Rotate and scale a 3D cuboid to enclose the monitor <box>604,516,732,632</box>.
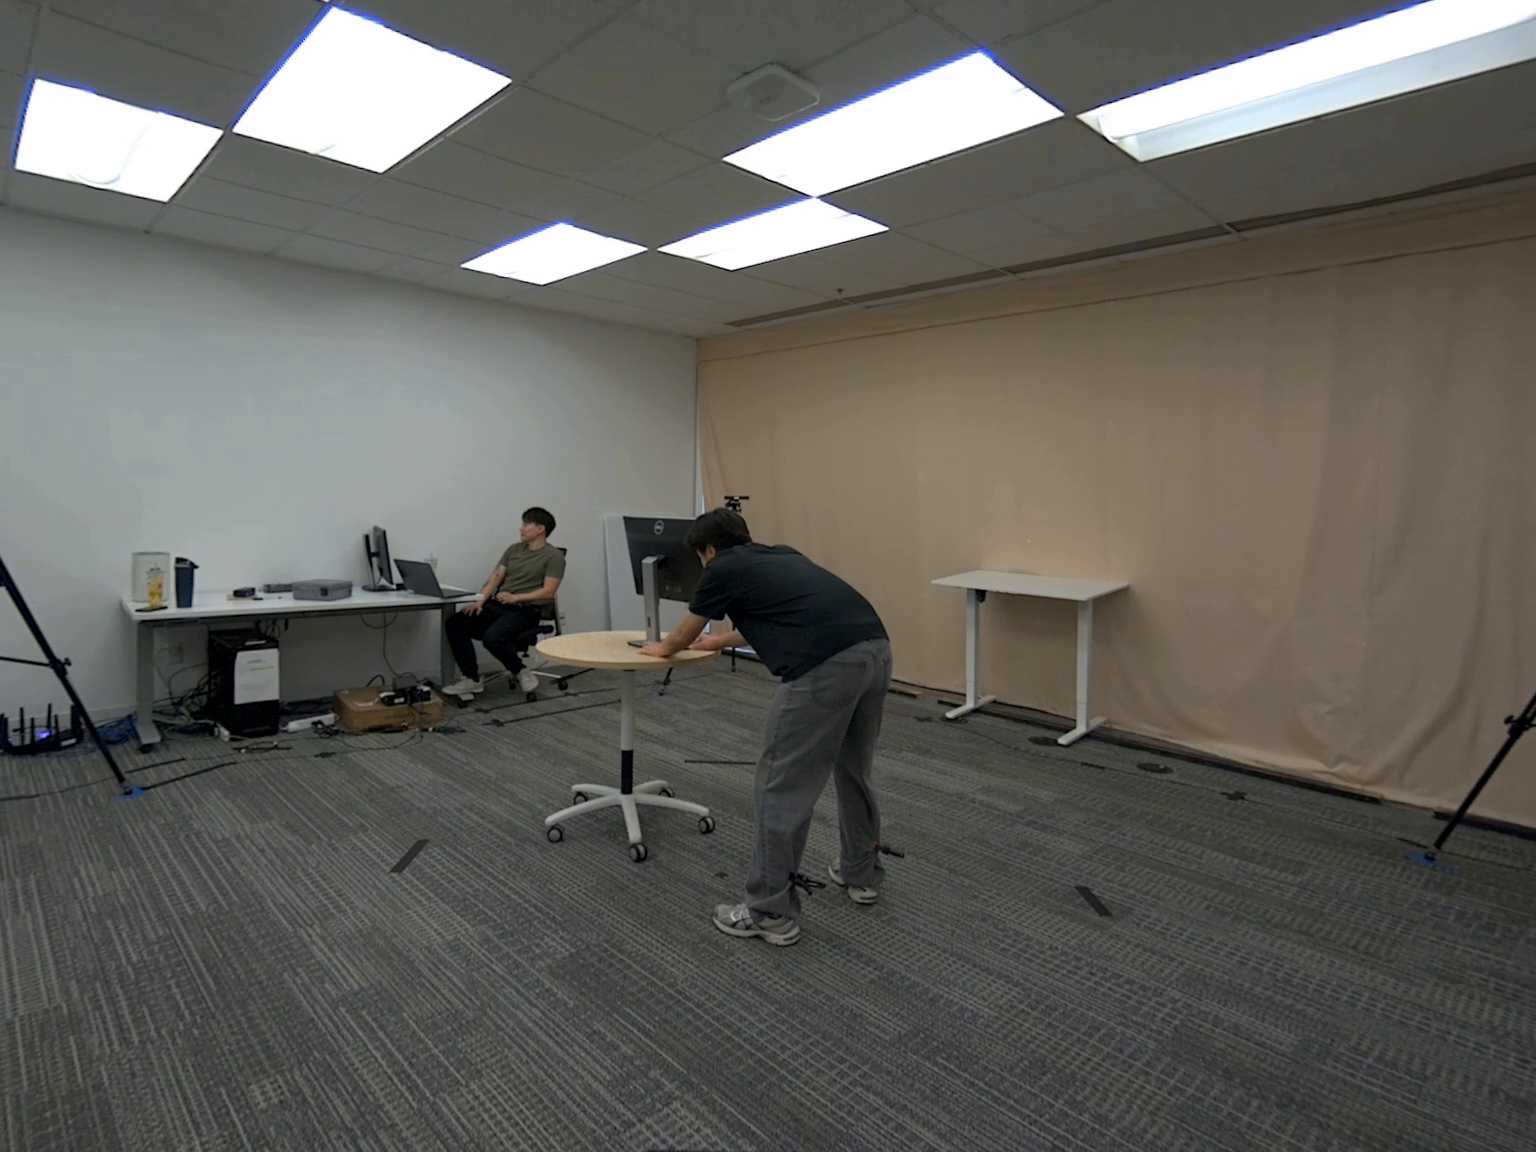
[{"bbox_3d":[-0.459,0.027,3.473,0.206,0.550,0.580,-10,11,-43],"label":"monitor"}]
